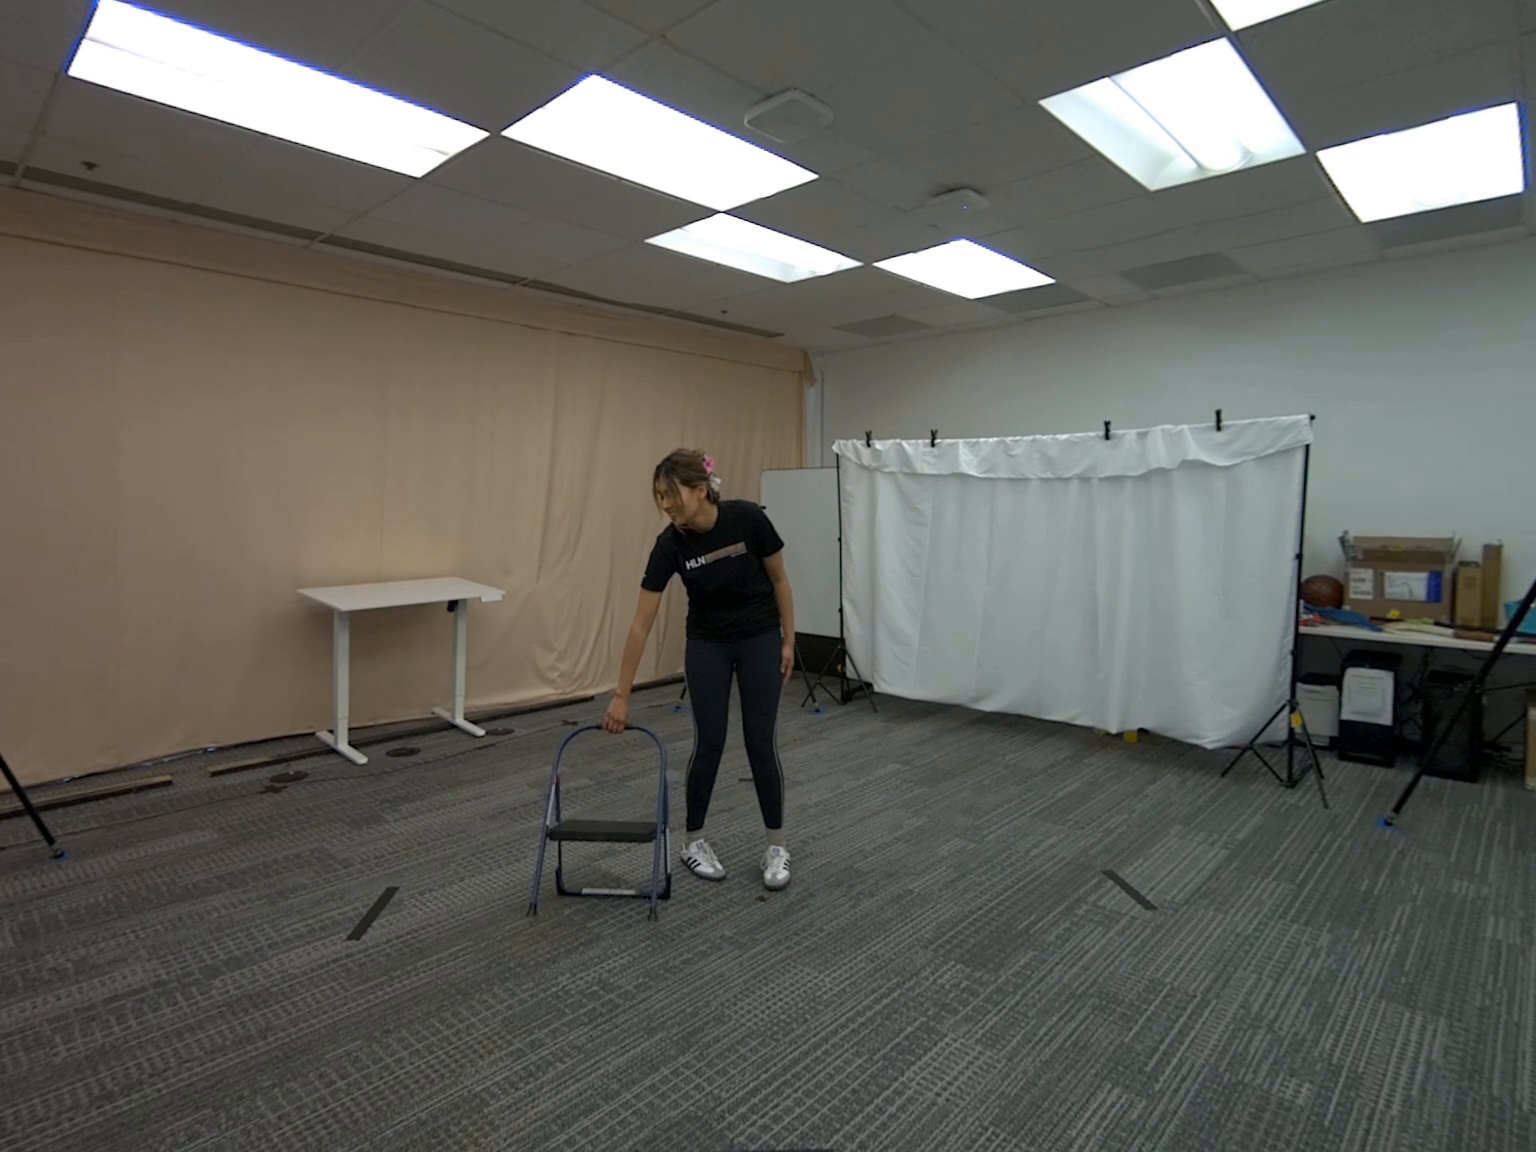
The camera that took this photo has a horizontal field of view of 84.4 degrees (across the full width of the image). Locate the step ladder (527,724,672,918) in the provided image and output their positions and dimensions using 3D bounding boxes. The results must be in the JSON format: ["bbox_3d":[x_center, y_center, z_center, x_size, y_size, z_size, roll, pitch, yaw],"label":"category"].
[{"bbox_3d":[-0.553,0.825,2.912,0.433,0.610,0.345,0,-10,4],"label":"step ladder"}]
